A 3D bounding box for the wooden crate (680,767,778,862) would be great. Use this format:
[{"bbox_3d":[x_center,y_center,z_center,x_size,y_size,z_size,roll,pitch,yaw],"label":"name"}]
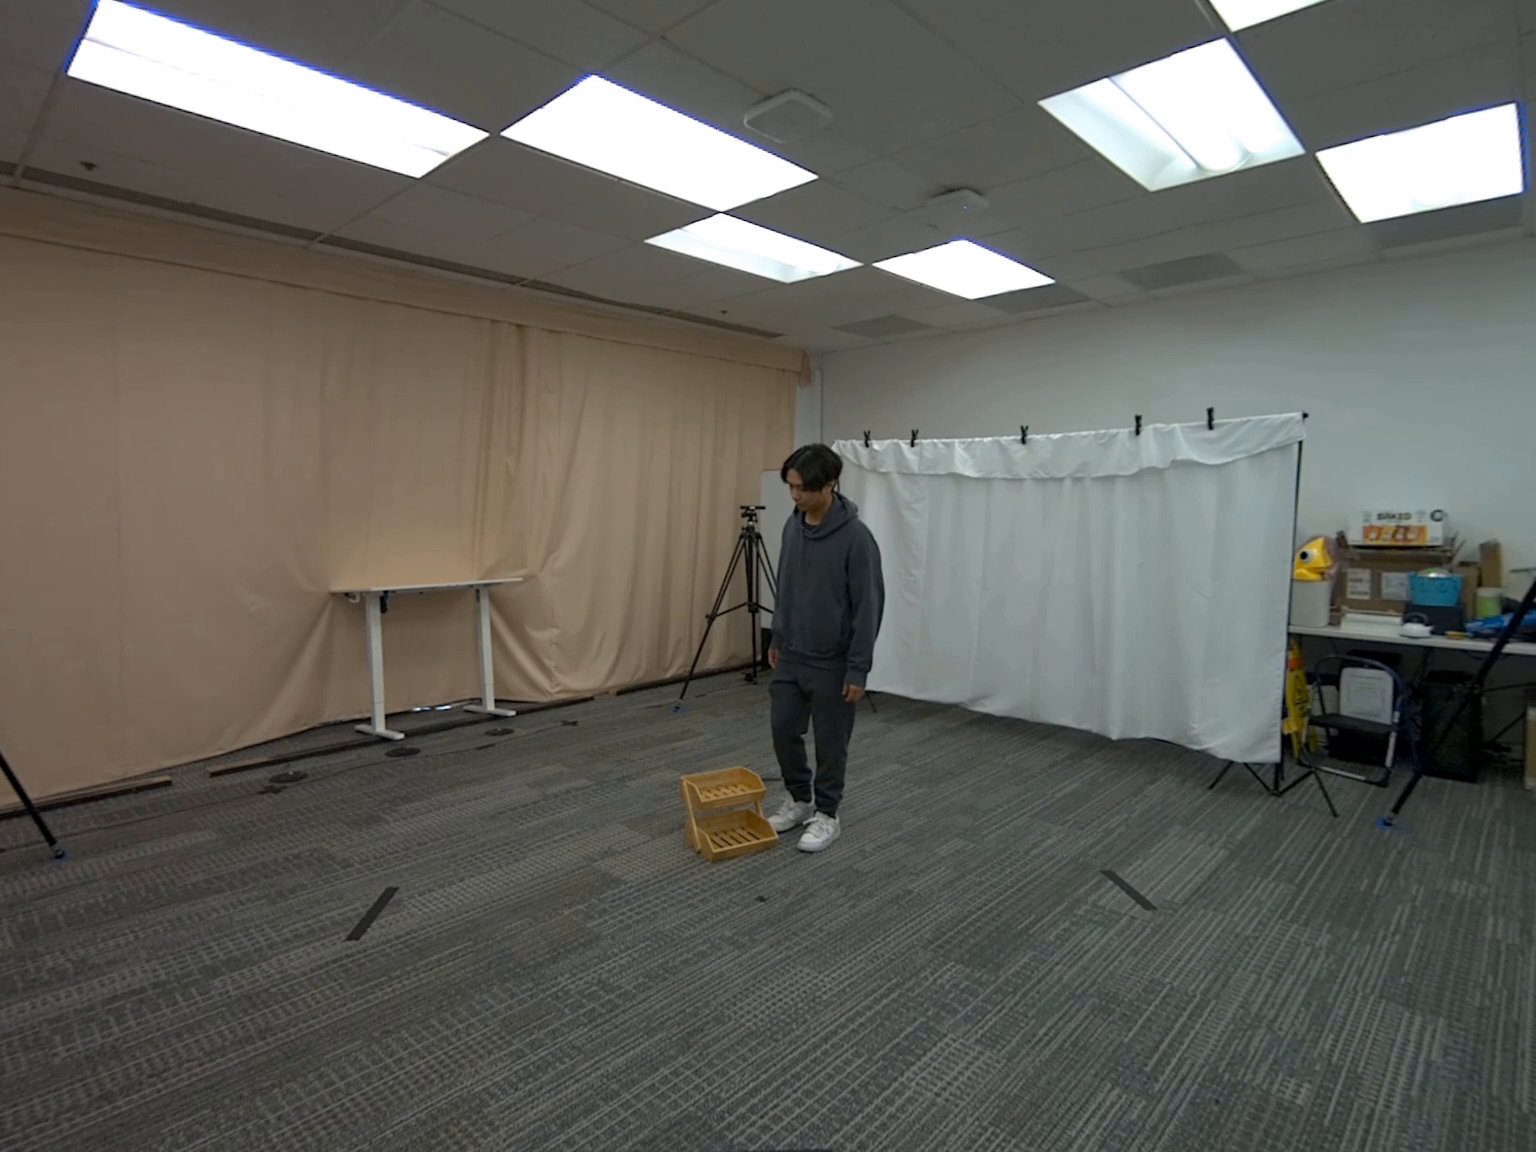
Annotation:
[{"bbox_3d":[-0.156,0.966,3.467,0.316,0.273,0.311,-2,4,-30],"label":"wooden crate"}]
